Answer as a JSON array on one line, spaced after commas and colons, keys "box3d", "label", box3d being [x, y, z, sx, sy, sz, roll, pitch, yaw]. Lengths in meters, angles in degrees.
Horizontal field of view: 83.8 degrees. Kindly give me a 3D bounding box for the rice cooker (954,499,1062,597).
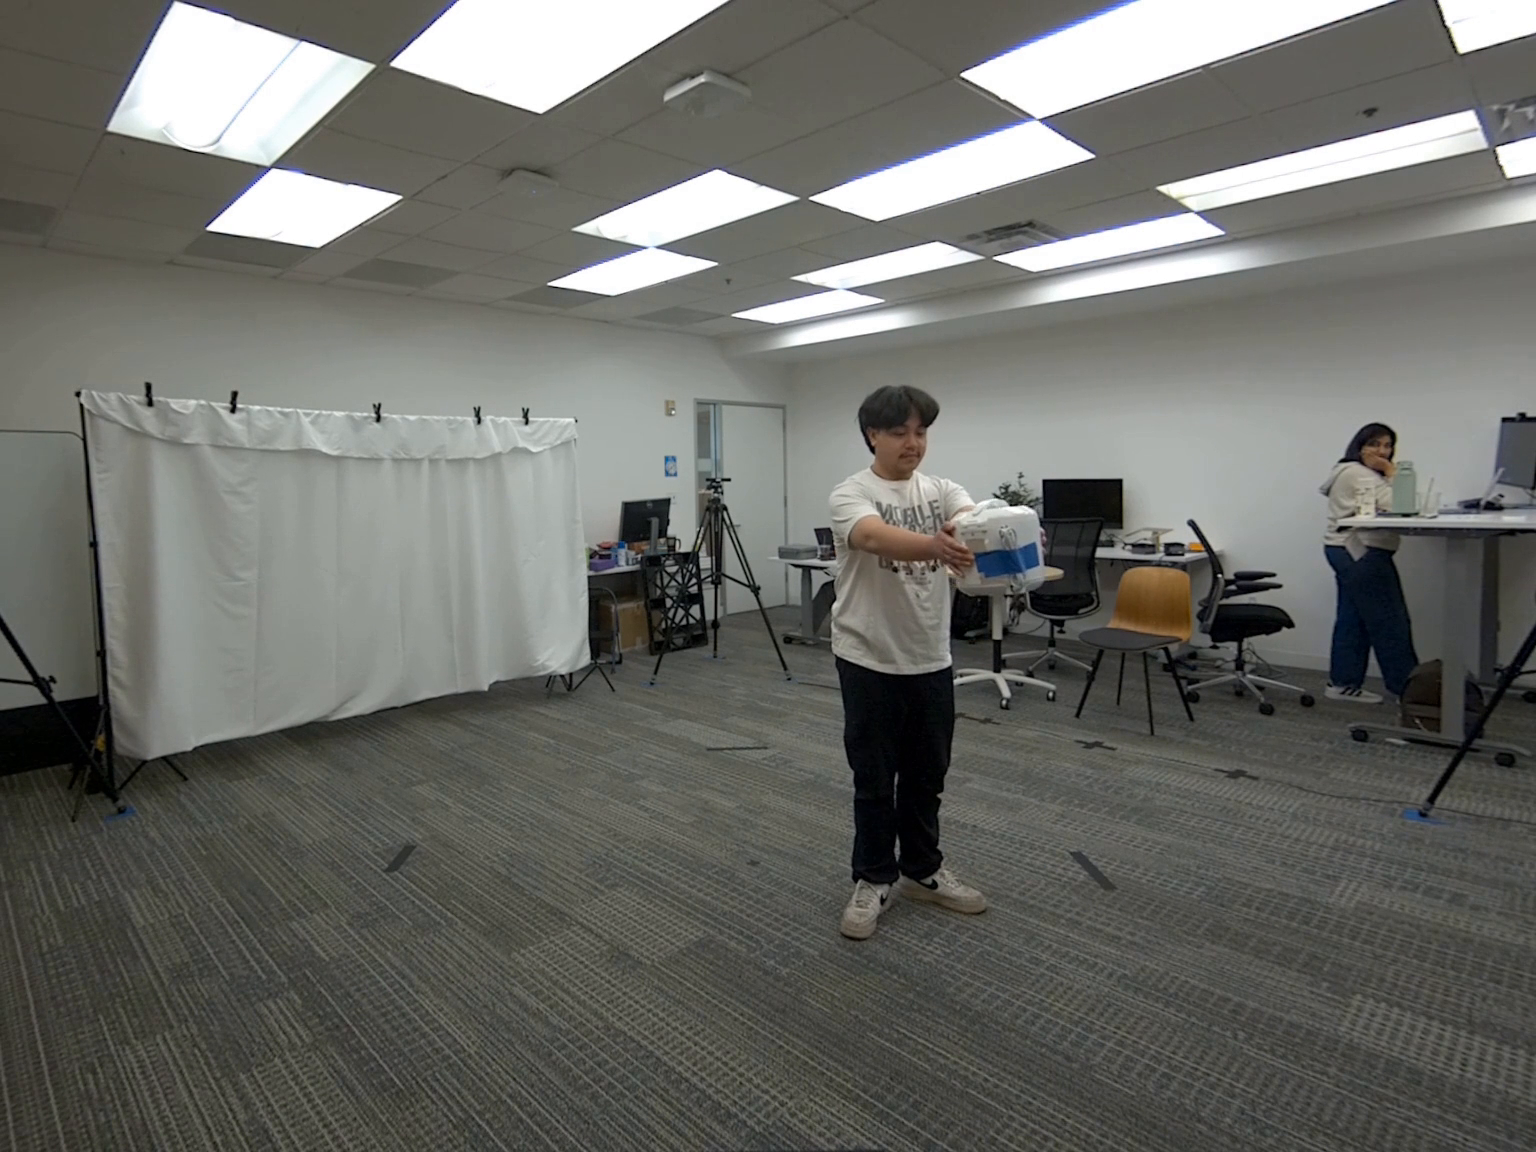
[{"box3d": [0.568, -0.070, 2.109, 0.223, 0.232, 0.215, -5, 2, 40], "label": "rice cooker"}]
